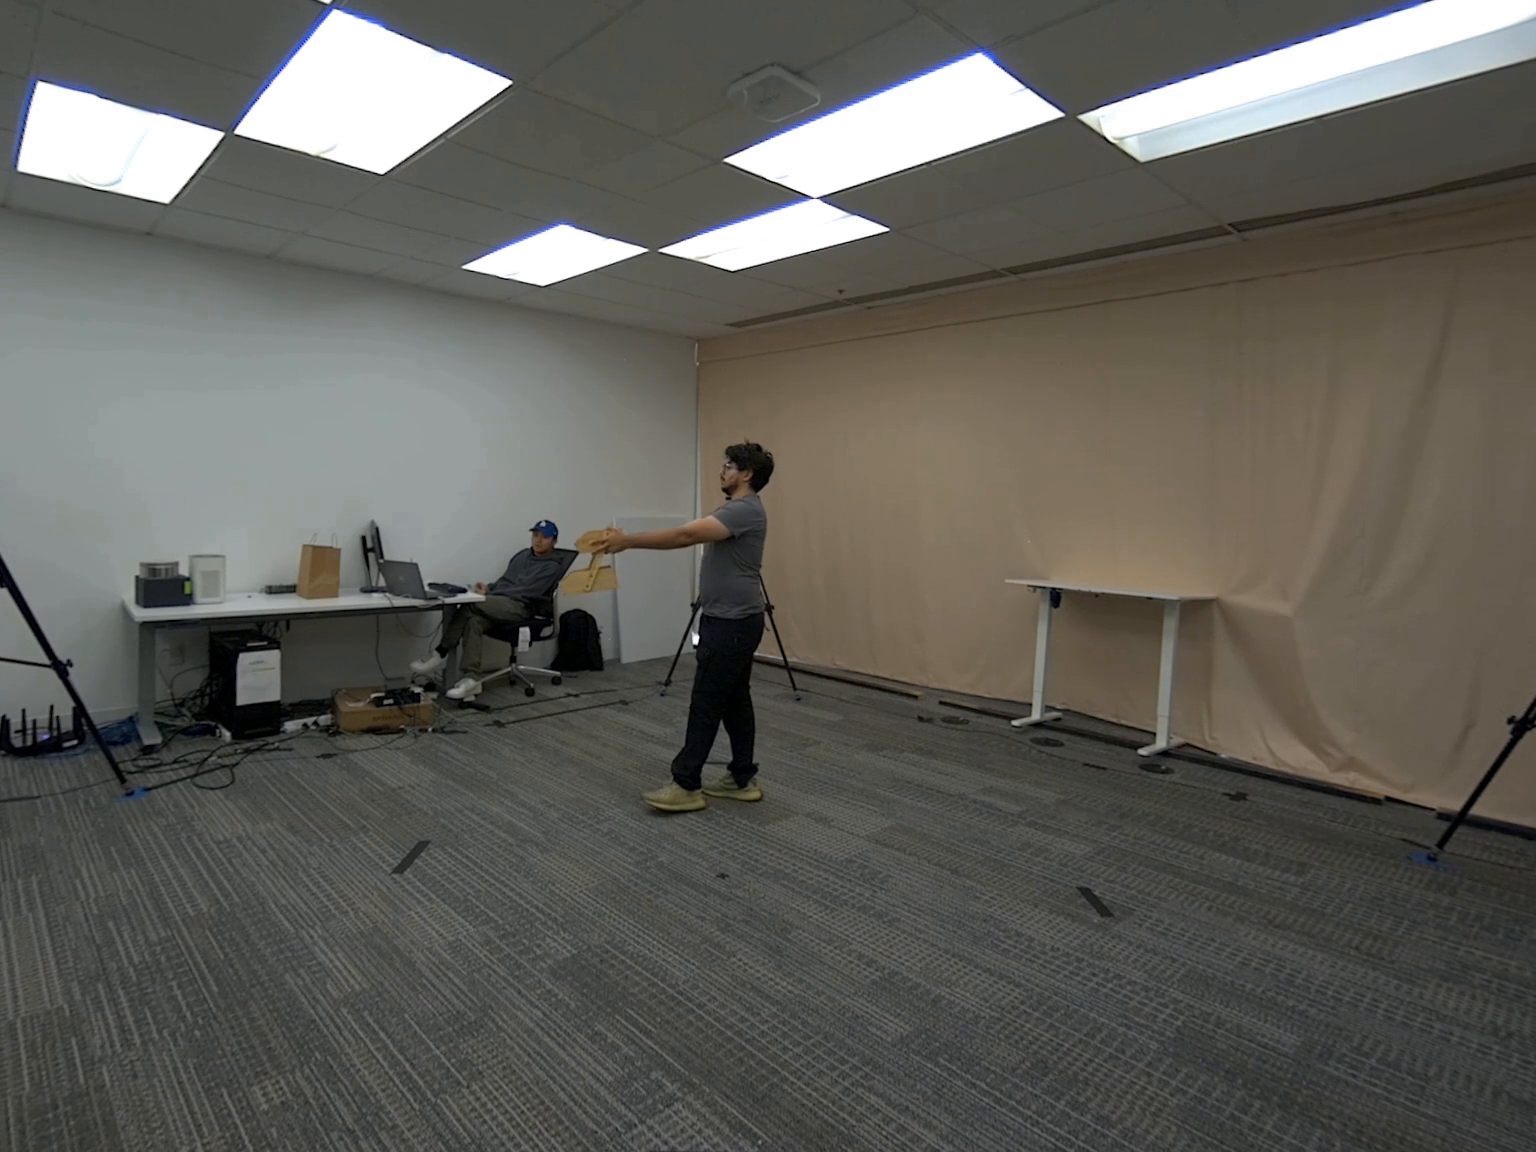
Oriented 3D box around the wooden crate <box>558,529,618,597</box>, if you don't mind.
[{"bbox_3d":[-0.818,-0.070,3.761,0.300,0.273,0.327,-7,3,-12],"label":"wooden crate"}]
